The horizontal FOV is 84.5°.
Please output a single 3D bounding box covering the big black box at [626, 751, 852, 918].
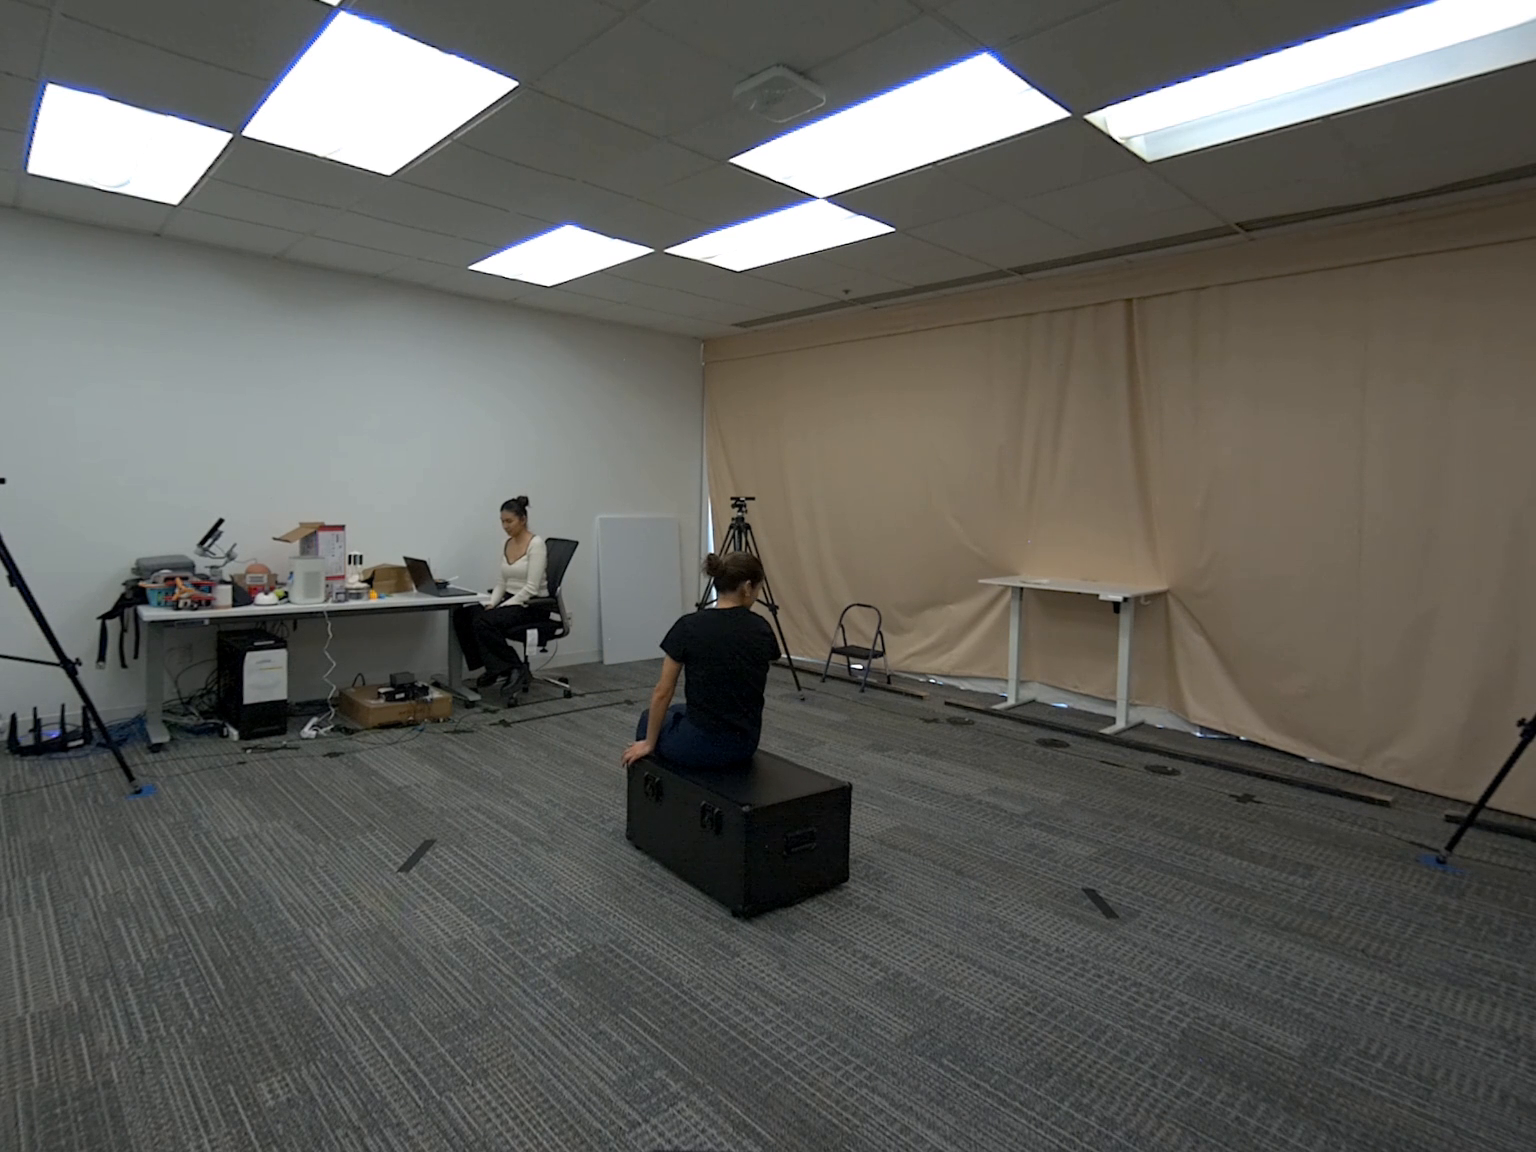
[{"bbox_3d":[-0.120,0.917,3.148,0.510,0.395,0.882,-2,5,-38],"label":"big black box"}]
